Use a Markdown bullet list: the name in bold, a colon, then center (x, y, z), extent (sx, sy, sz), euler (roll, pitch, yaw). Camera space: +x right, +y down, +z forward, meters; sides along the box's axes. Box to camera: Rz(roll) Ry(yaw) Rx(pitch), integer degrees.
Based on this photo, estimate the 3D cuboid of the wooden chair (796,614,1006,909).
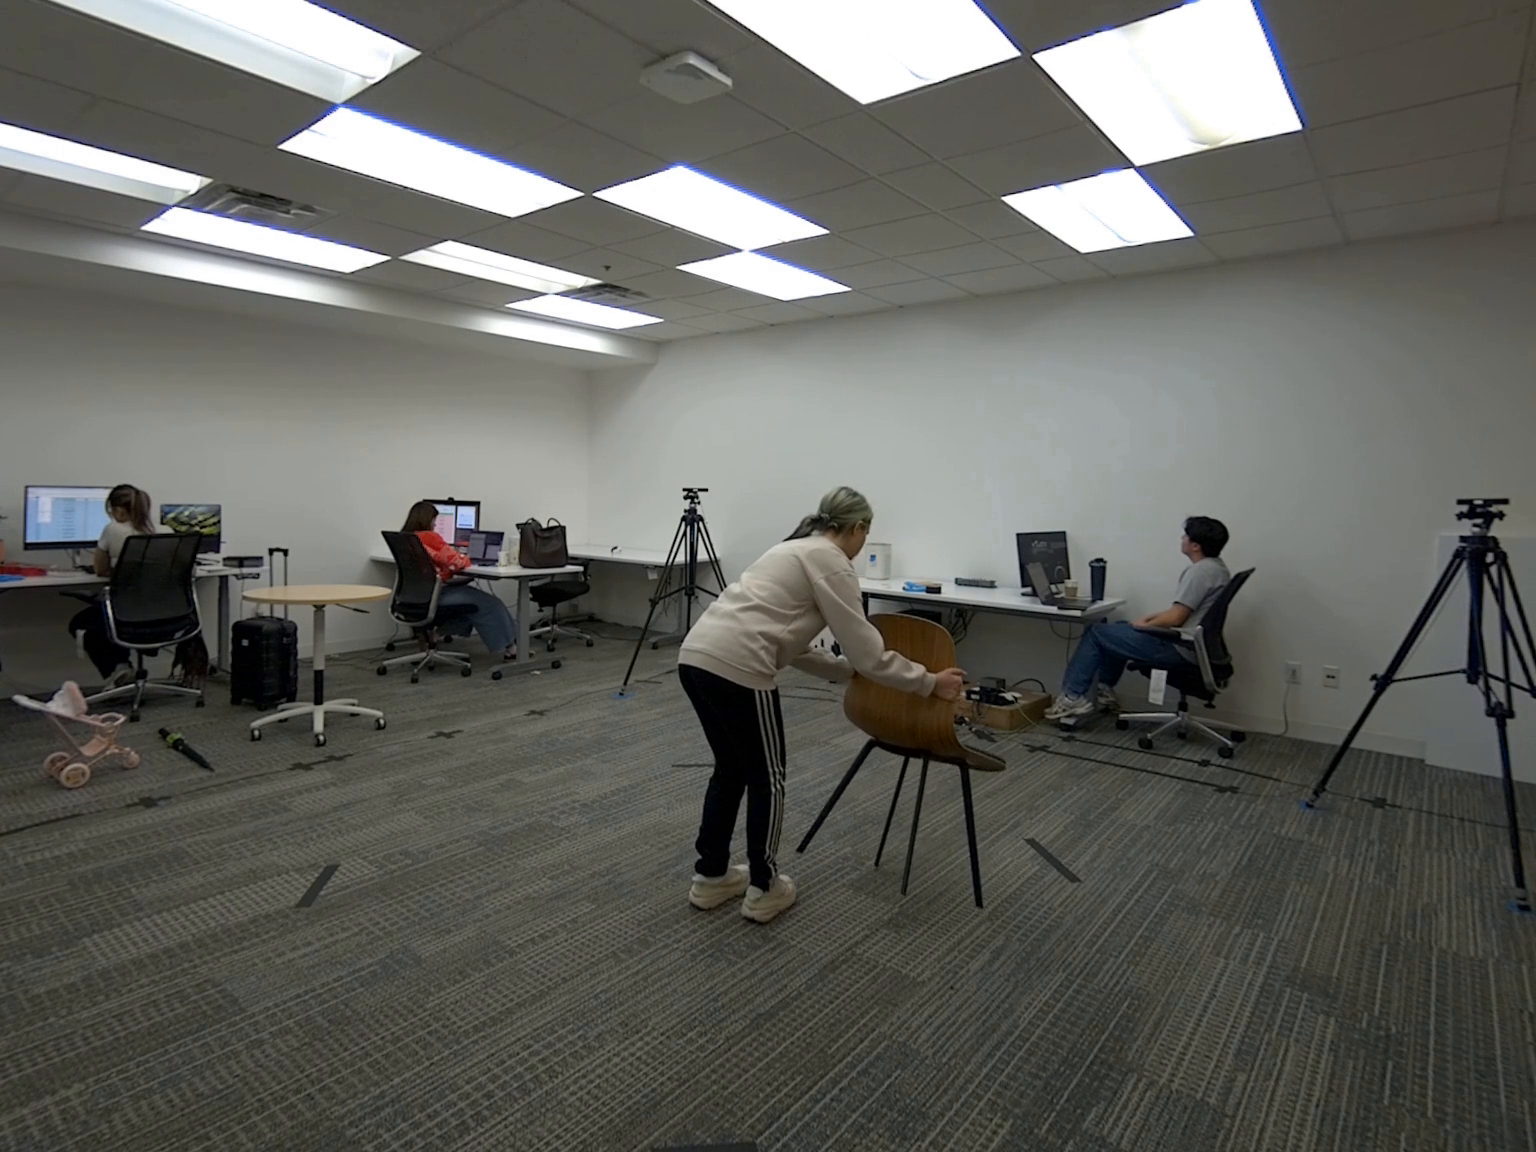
- **wooden chair**: center (0.505, 0.610, 2.938), extent (0.503, 0.884, 0.493), euler (20, -12, -41)
